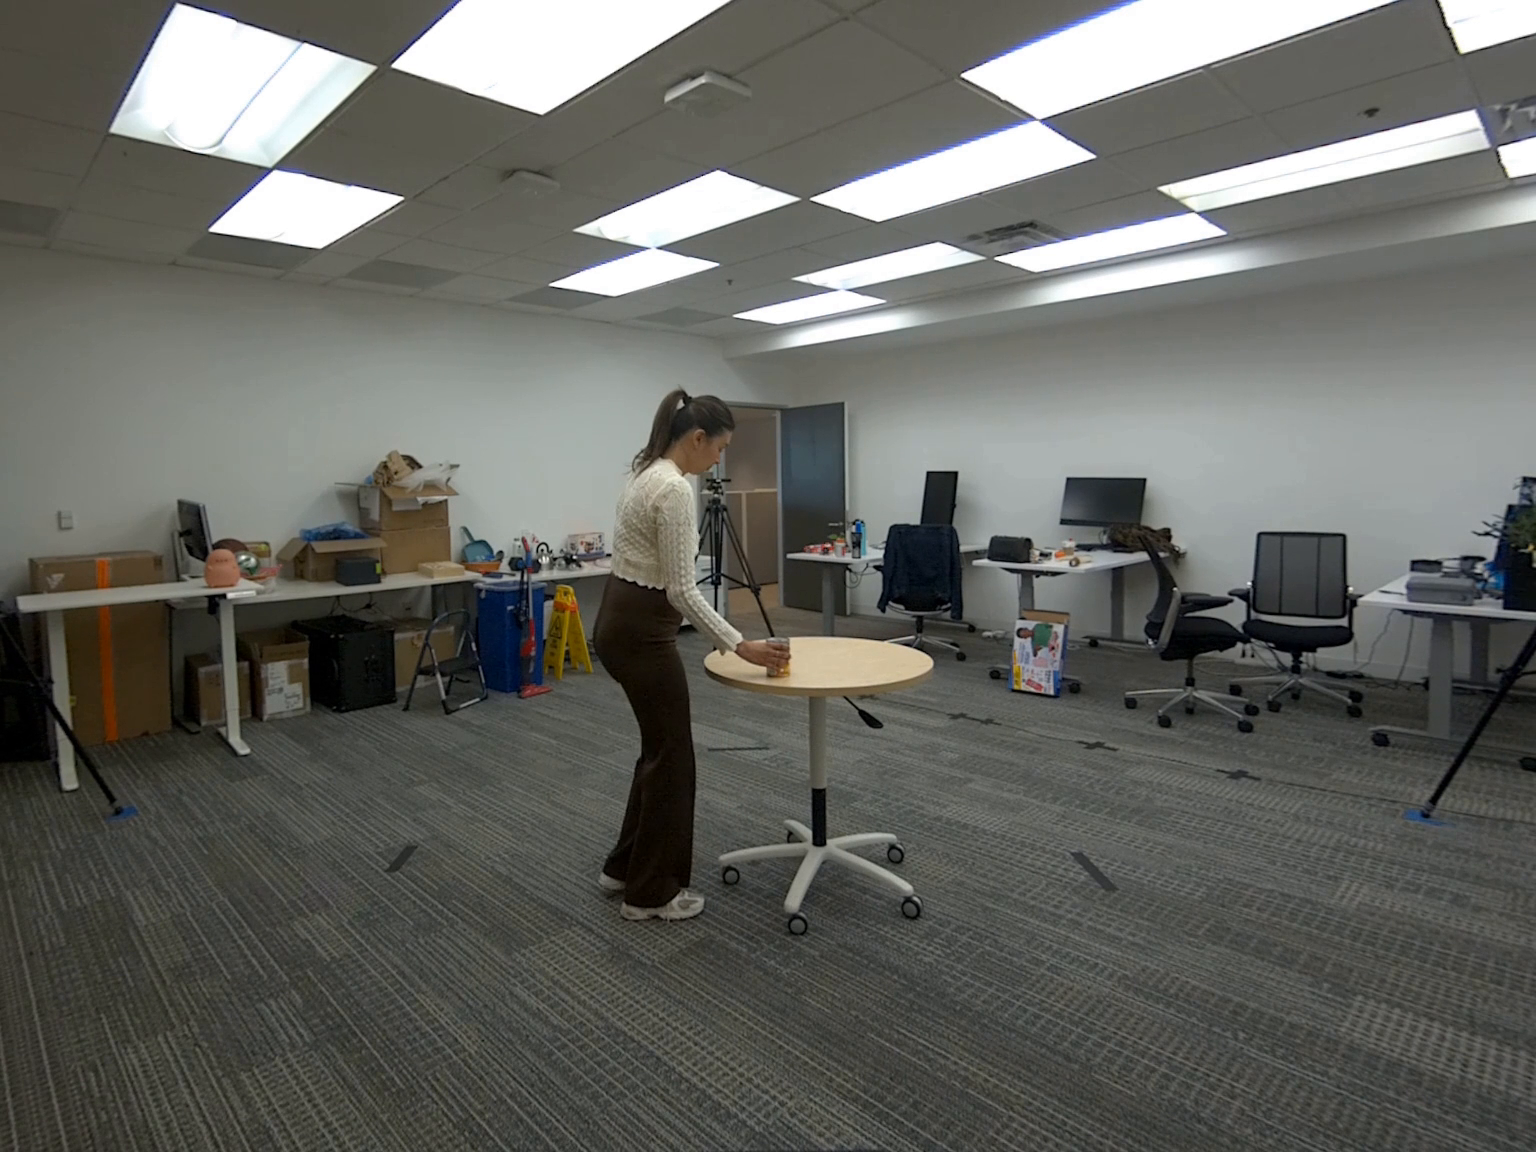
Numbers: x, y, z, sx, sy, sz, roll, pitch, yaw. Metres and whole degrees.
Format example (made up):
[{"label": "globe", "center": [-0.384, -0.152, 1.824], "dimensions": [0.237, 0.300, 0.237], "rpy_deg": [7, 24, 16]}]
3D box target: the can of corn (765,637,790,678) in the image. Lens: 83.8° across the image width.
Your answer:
[{"label": "can of corn", "center": [0.030, 0.256, 2.668], "dimensions": [0.074, 0.111, 0.074], "rpy_deg": [-3, 2, -2]}]
